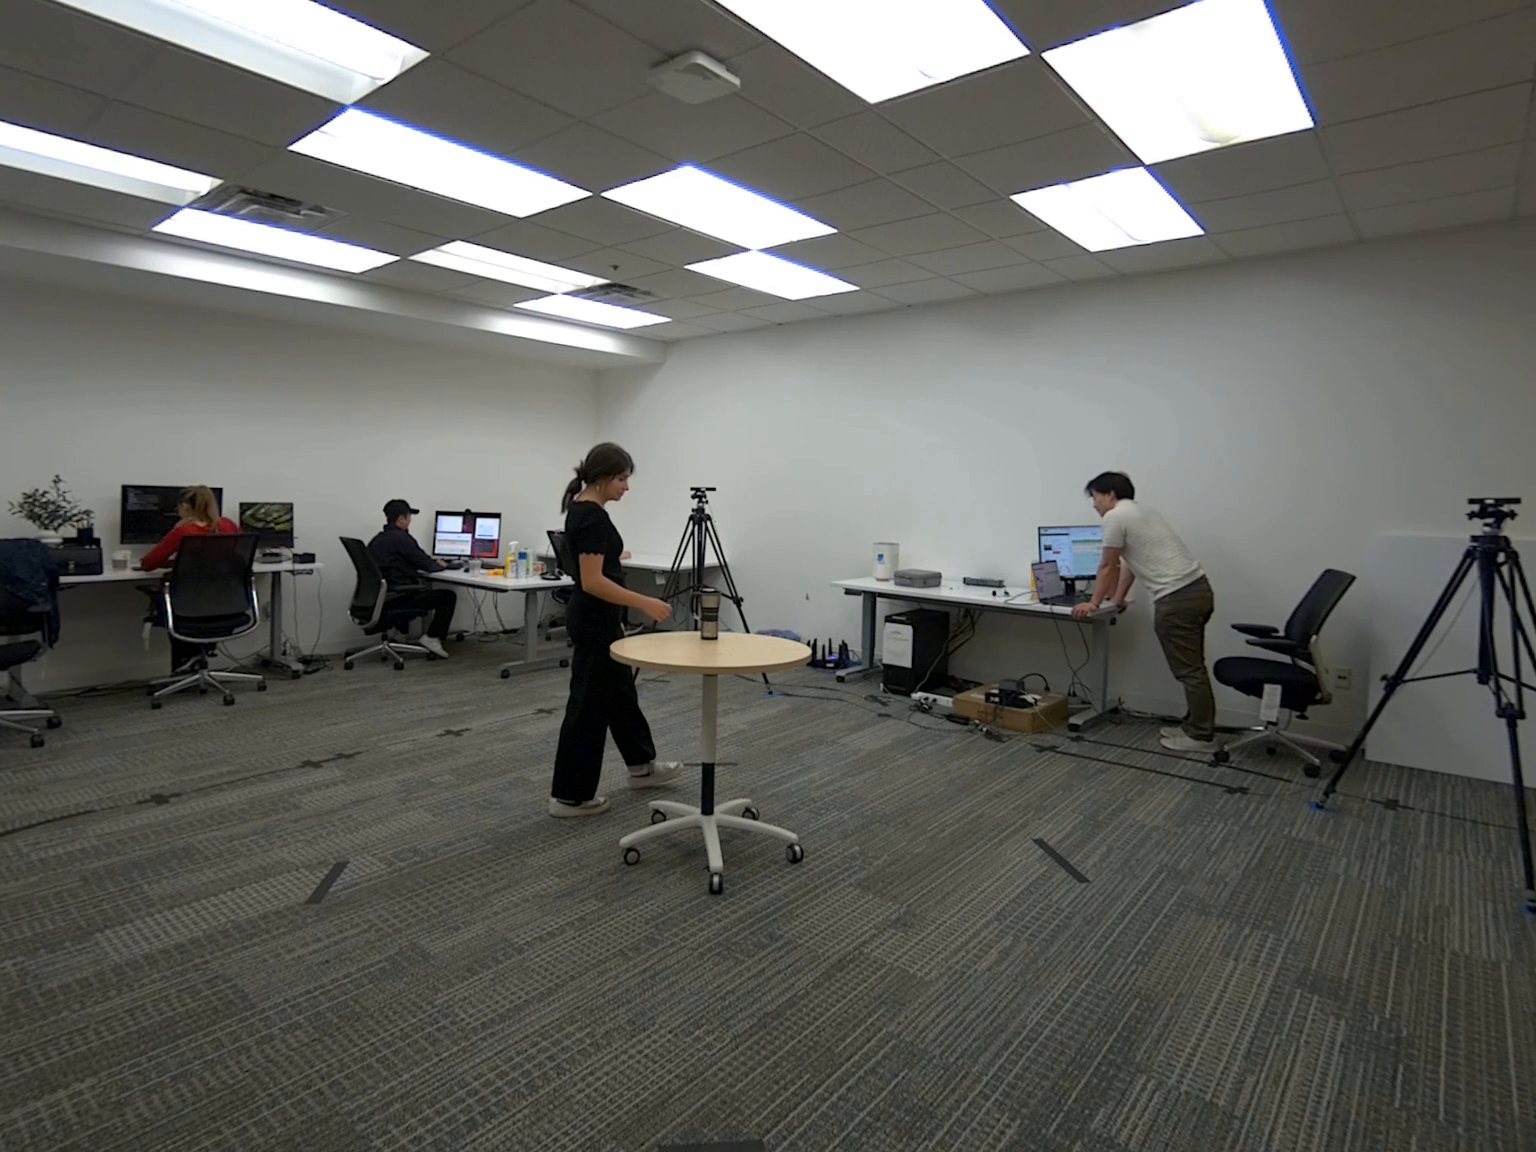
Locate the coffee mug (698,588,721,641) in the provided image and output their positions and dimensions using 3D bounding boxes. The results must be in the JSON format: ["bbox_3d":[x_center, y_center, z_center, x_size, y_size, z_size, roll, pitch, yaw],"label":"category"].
[{"bbox_3d":[-0.262,0.149,3.445,0.126,0.201,0.085,8,12,41],"label":"coffee mug"}]
